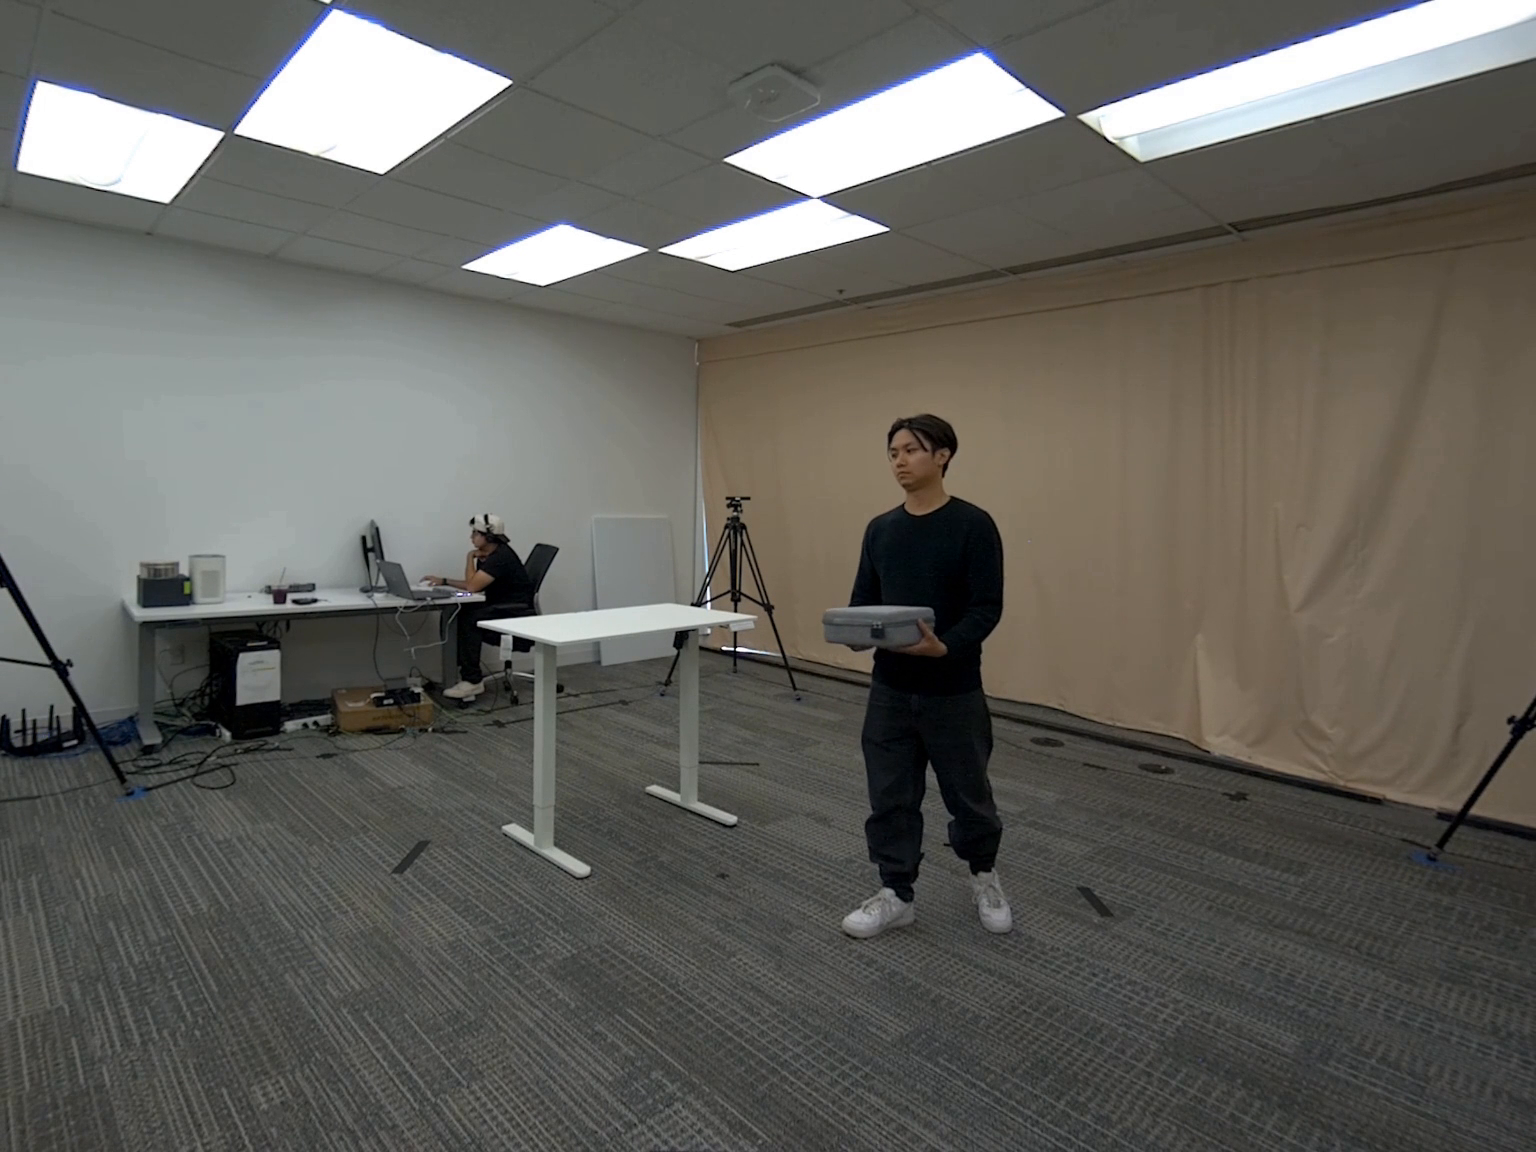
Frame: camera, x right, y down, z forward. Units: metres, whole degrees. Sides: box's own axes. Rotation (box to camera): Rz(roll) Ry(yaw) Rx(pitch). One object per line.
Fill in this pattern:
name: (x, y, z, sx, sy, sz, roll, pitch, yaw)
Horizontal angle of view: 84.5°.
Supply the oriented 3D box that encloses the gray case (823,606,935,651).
gray case: (0.324, 0.149, 2.504, 0.251, 0.104, 0.266, -5, 3, -44)
